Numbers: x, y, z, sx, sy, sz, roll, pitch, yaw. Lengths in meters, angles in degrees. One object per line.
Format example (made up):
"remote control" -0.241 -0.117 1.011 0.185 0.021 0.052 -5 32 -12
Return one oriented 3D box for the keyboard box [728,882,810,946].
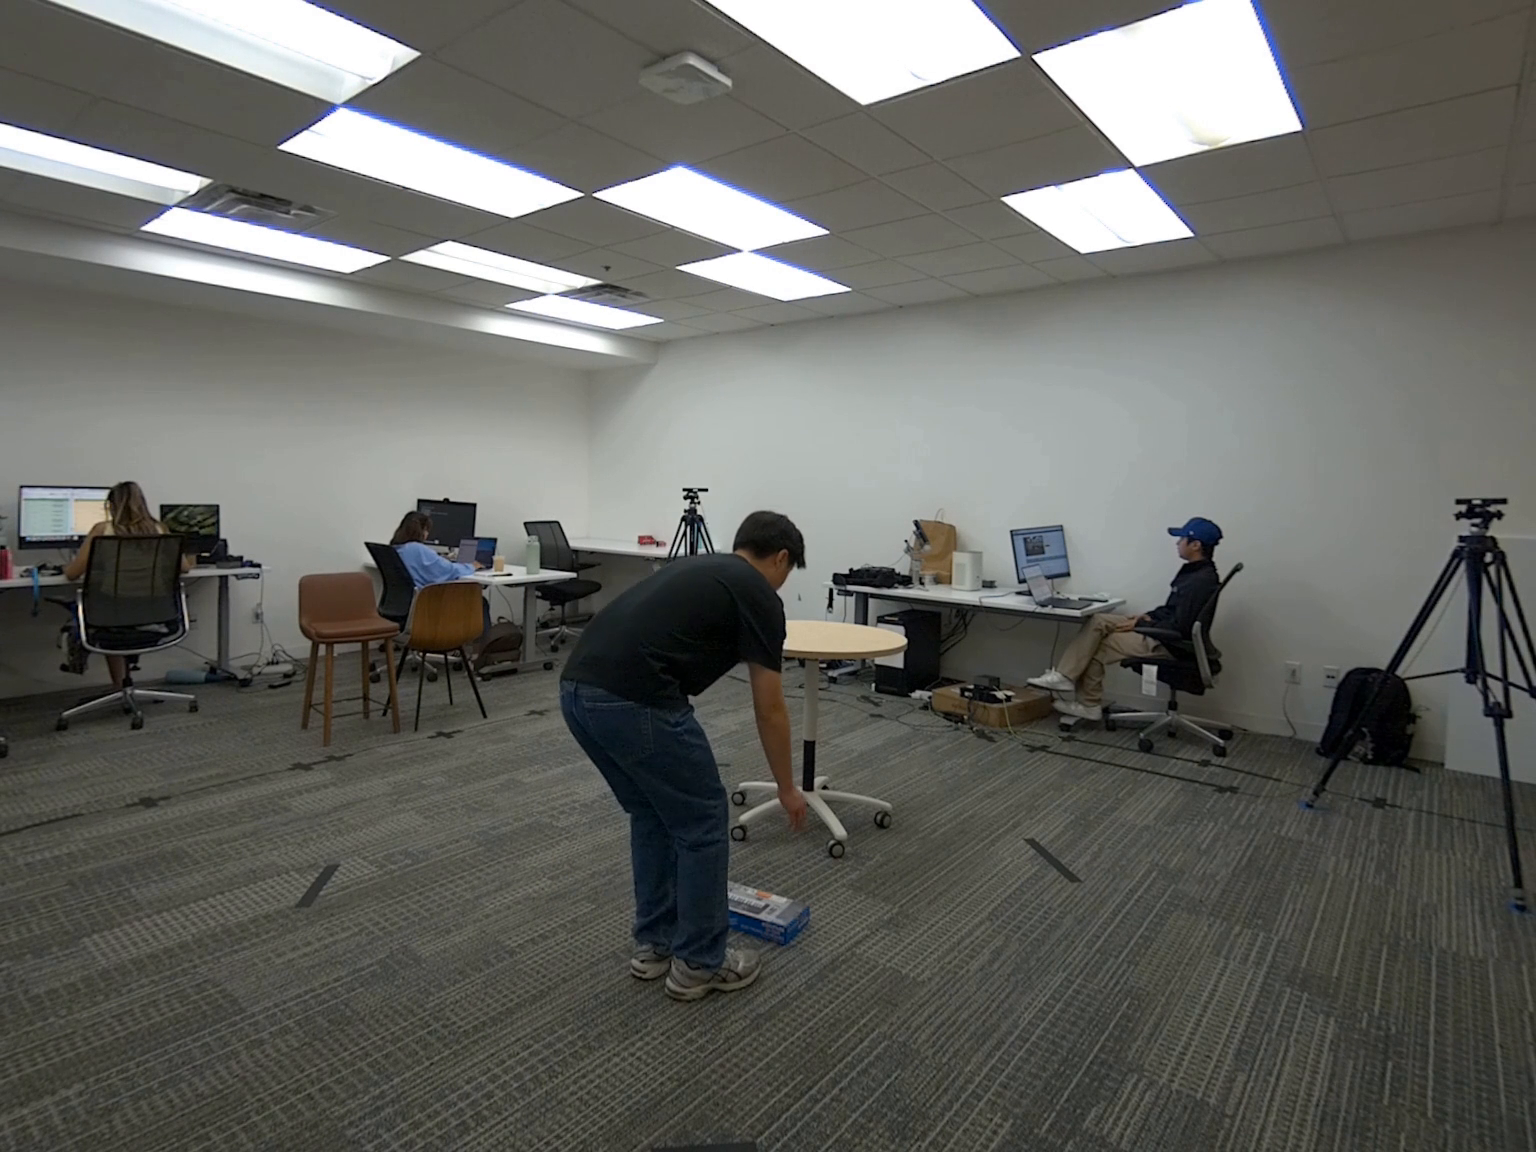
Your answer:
"keyboard box" -0.102 1.076 2.777 0.450 0.059 0.171 4 5 30
